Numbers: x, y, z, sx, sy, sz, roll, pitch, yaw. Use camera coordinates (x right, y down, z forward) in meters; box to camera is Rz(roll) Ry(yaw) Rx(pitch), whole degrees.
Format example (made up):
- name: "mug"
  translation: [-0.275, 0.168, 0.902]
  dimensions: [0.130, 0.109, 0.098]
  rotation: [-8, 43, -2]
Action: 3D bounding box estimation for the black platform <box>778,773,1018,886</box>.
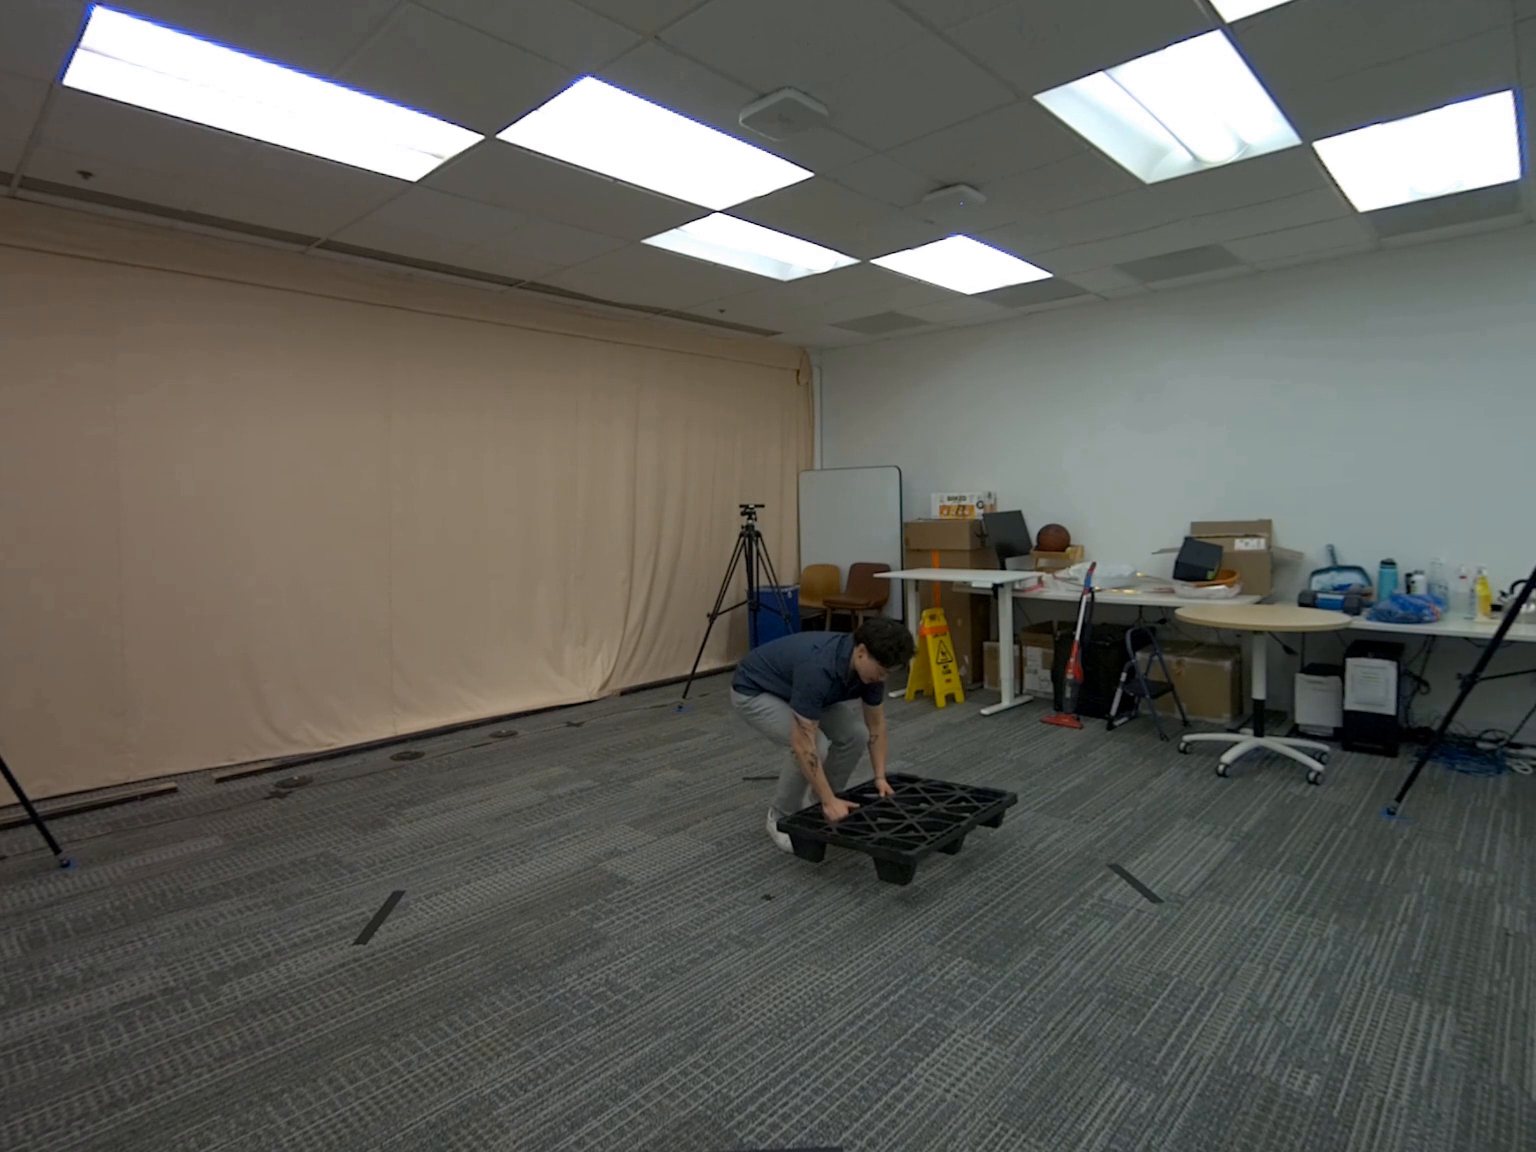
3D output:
- name: "black platform"
  translation: [0.526, 0.960, 3.248]
  dimensions: [0.624, 0.143, 0.781]
  rotation: [-1, 4, 43]
